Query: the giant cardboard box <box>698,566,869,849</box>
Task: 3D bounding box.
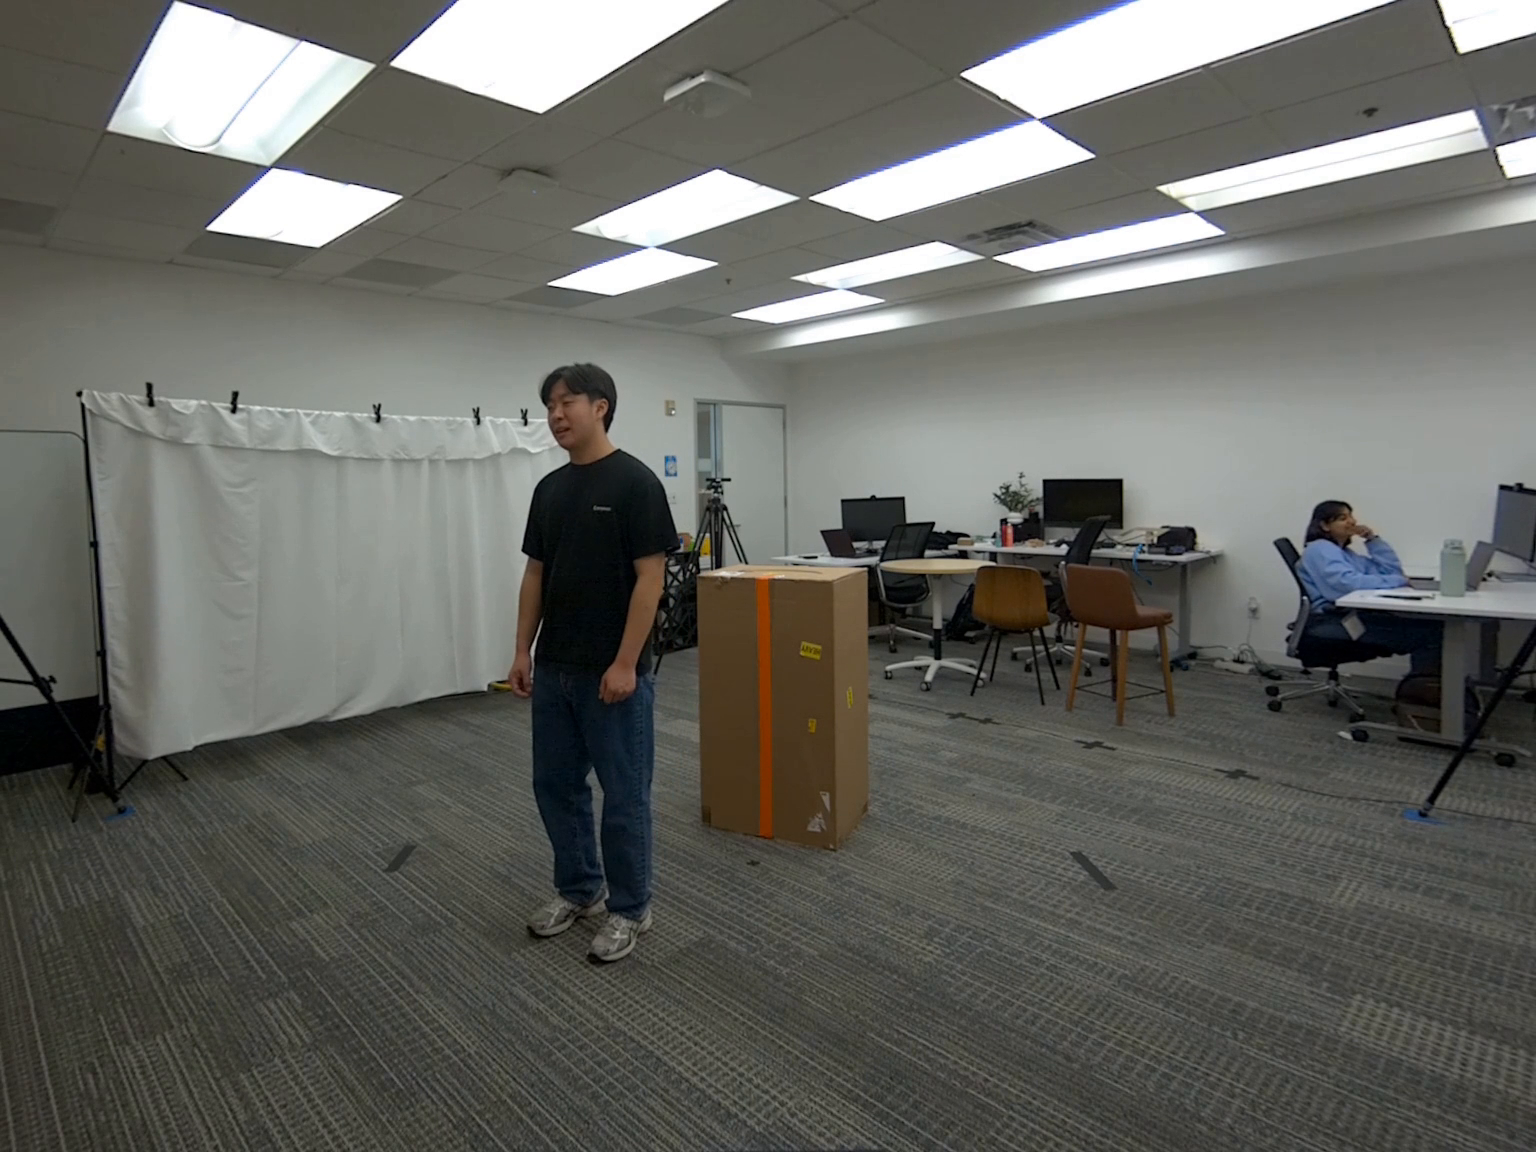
[{"bbox_3d":[0.072,0.486,3.472,0.598,1.022,0.438,2,6,27],"label":"giant cardboard box"}]
